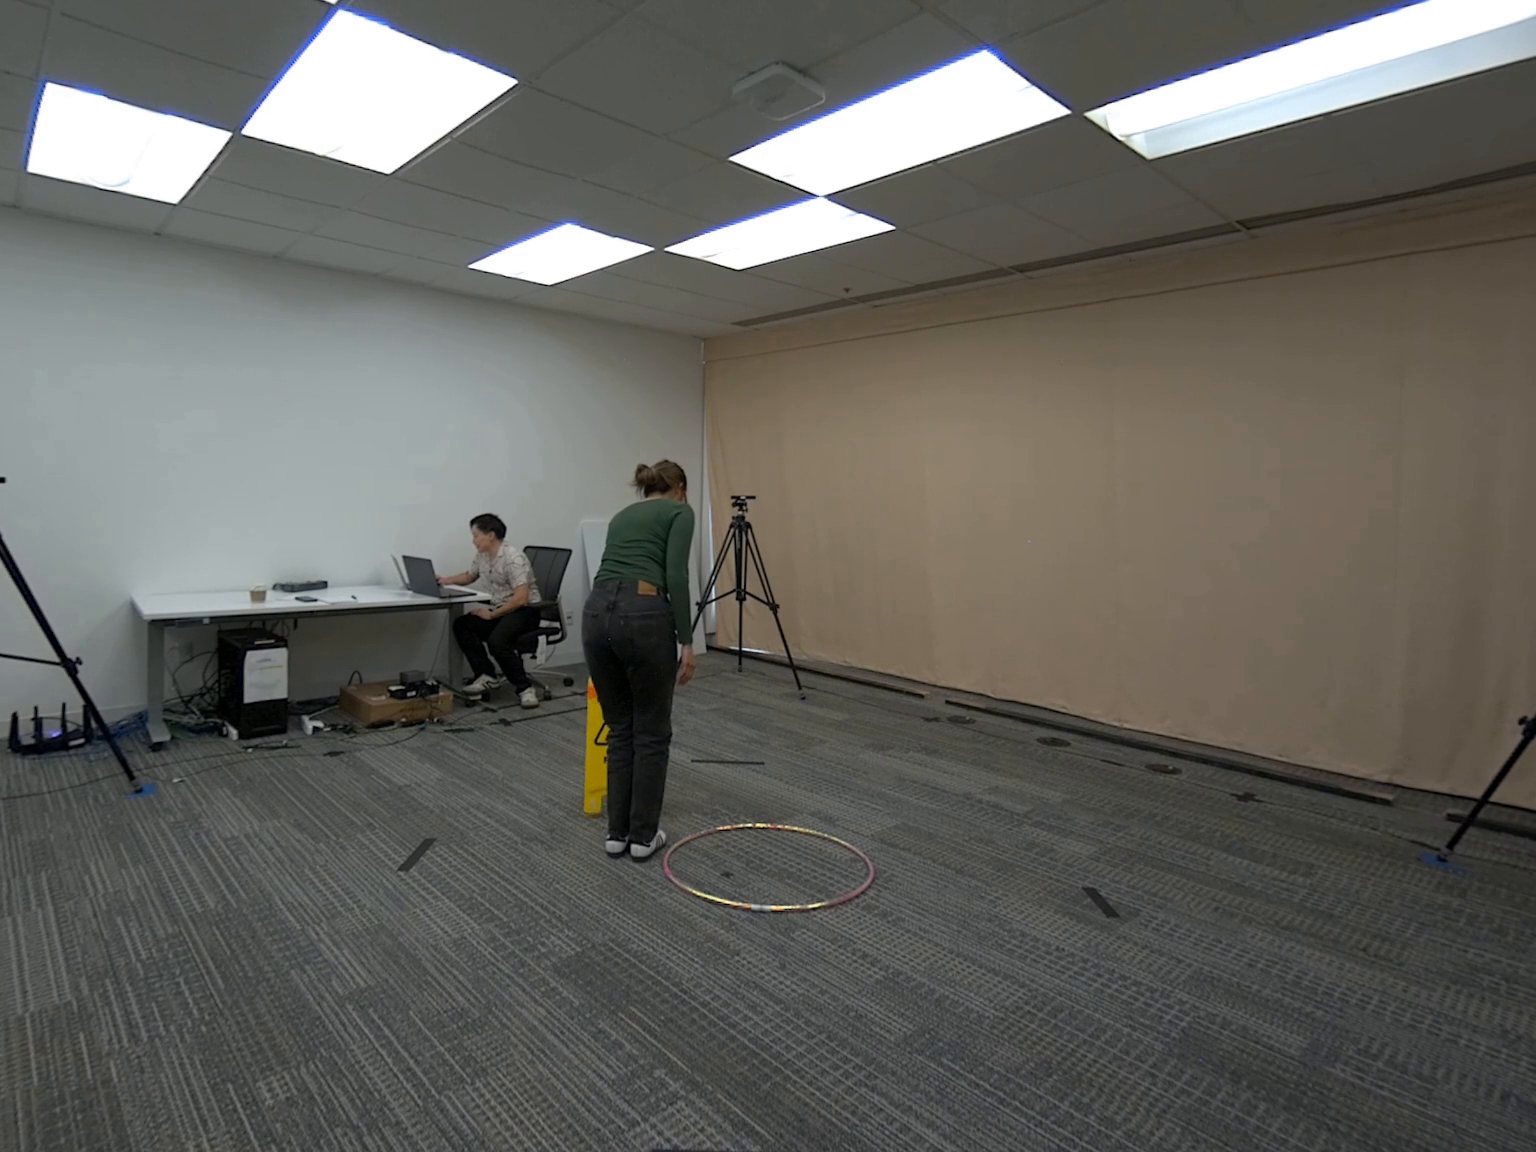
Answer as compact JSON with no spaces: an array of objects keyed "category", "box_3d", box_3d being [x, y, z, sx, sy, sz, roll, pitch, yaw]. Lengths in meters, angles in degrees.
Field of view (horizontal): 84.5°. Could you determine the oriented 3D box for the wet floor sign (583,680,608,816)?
[{"category":"wet floor sign","box_3d":[-0.673,0.665,3.714,0.284,0.644,0.289,0,5,8]}]
